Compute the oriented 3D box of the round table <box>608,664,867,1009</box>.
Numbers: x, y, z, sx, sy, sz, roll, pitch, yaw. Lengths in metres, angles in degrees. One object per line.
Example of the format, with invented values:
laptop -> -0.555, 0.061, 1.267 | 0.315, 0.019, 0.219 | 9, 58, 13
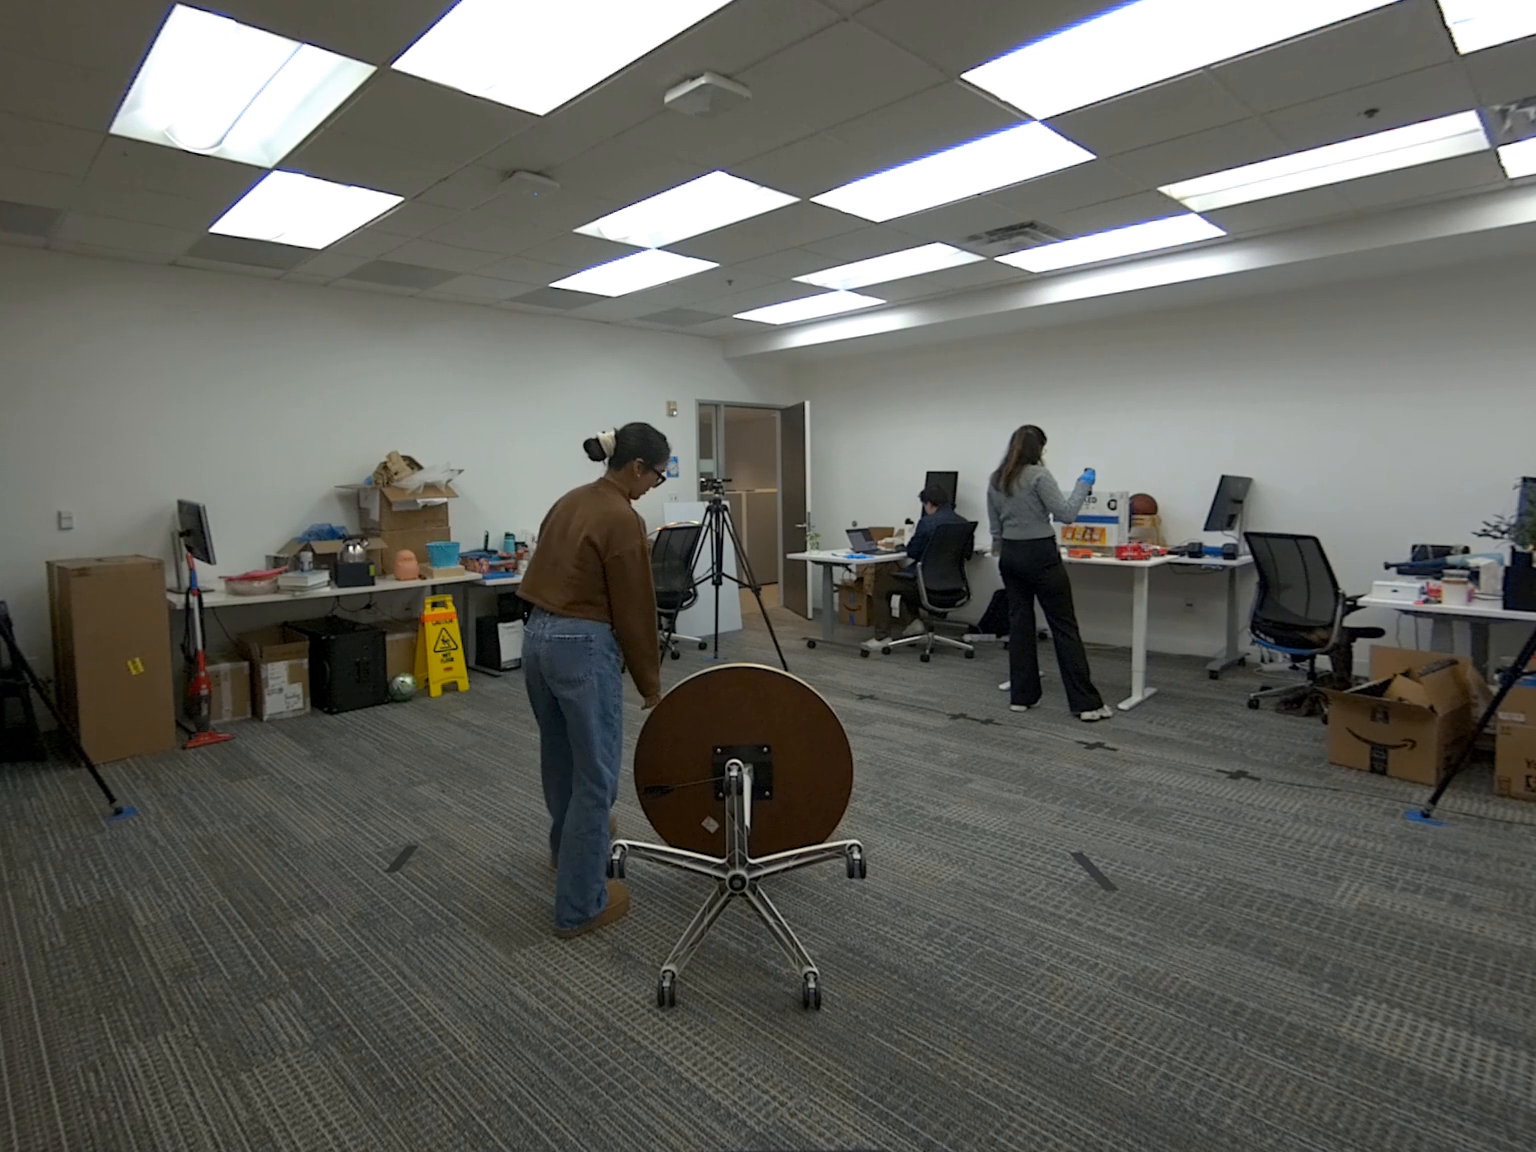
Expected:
round table -> -0.088, 0.762, 2.593 | 0.766, 0.757, 0.800 | -1, 10, 1
